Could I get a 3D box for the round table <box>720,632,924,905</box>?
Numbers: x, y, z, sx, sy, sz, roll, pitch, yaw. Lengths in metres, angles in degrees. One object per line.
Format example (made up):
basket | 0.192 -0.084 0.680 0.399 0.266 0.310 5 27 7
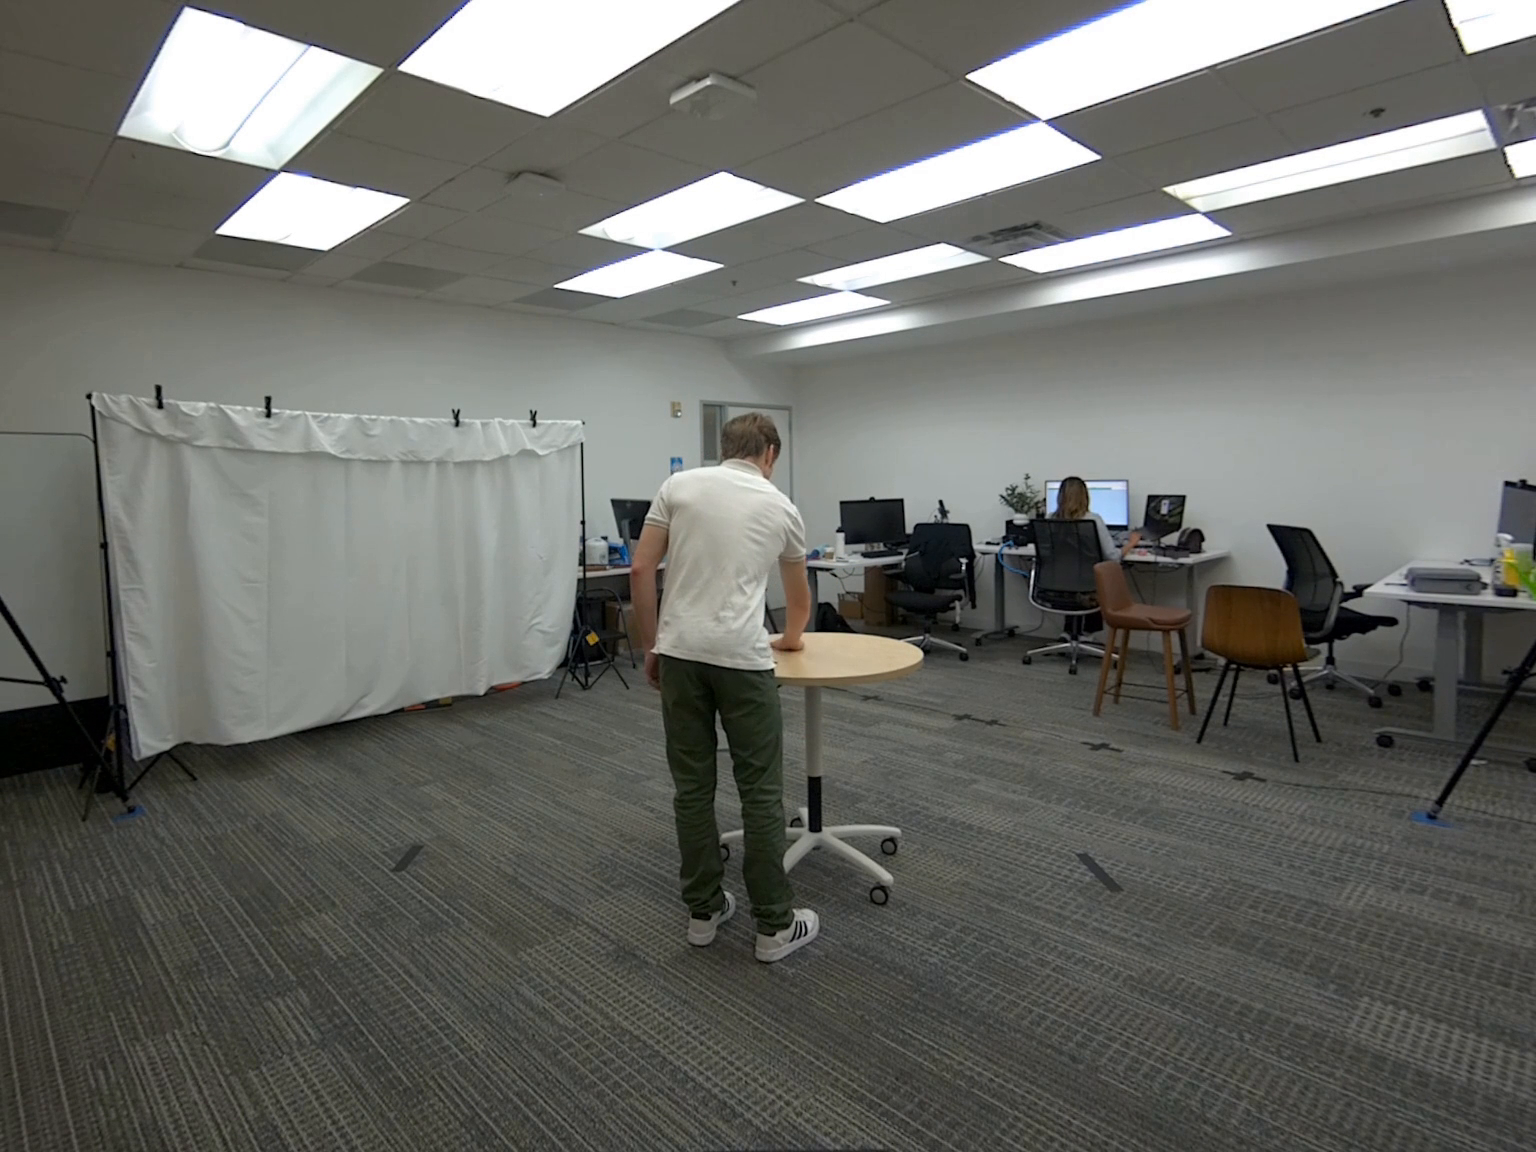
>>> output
round table | 0.182 0.656 3.045 0.784 0.783 0.789 -1 5 -2
